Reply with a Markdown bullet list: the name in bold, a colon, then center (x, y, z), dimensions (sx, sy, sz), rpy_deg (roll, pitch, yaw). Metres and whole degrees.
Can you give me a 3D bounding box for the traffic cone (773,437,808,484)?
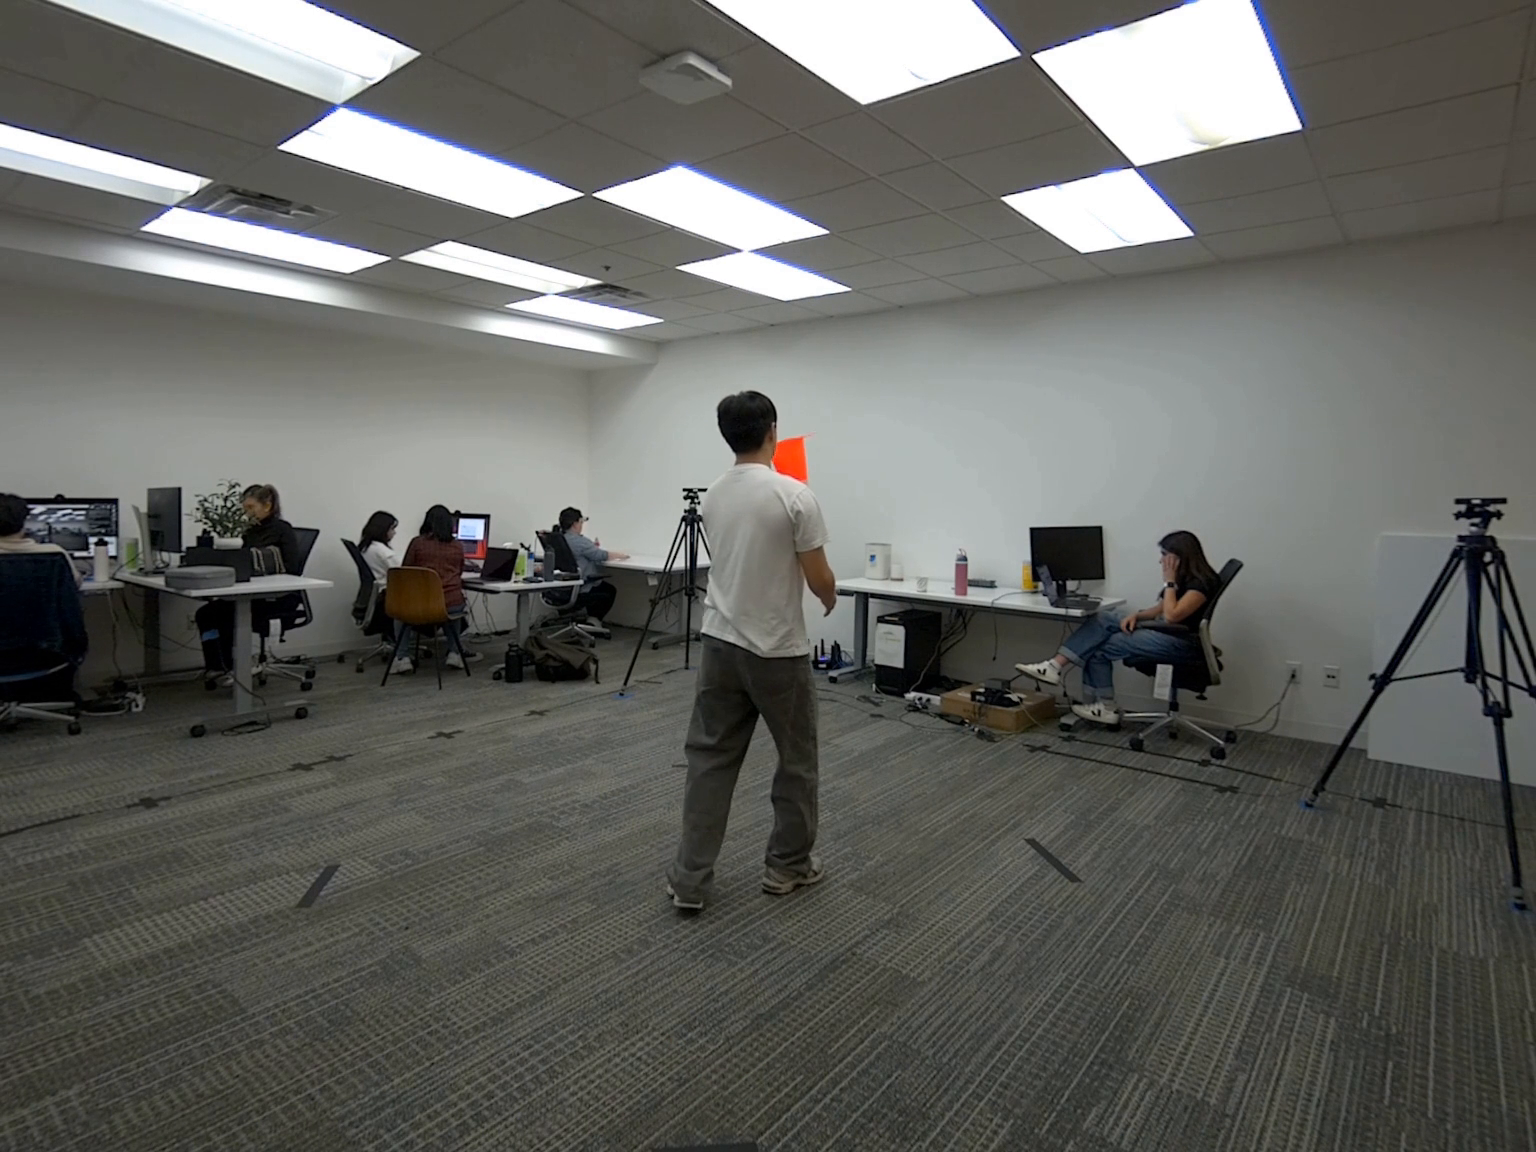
- **traffic cone**: center (0.101, -0.364, 3.436), dimensions (0.200, 0.384, 0.208), rpy_deg (-14, 0, -43)
